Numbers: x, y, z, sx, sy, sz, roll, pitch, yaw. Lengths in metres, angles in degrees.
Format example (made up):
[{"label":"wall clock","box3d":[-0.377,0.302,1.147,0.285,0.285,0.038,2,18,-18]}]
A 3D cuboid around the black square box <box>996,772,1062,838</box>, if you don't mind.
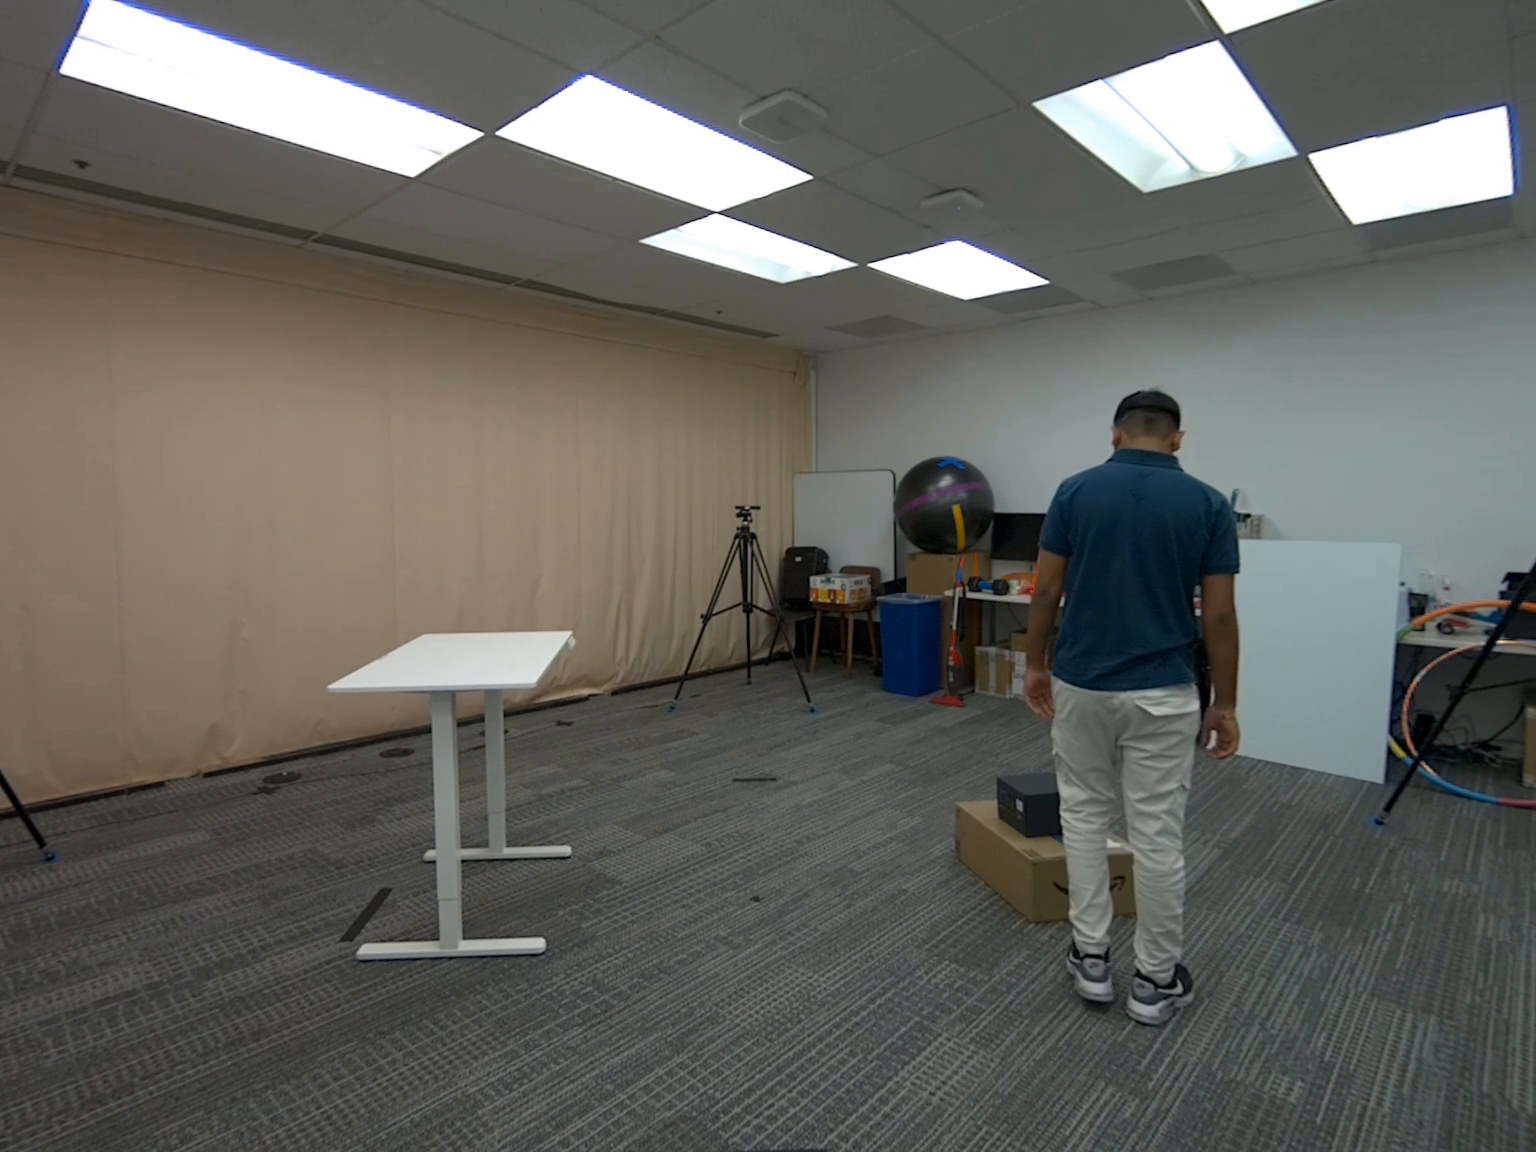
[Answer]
[{"label":"black square box","box3d":[1.003,0.833,3.086,0.225,0.156,0.219,-2,3,-10]}]
